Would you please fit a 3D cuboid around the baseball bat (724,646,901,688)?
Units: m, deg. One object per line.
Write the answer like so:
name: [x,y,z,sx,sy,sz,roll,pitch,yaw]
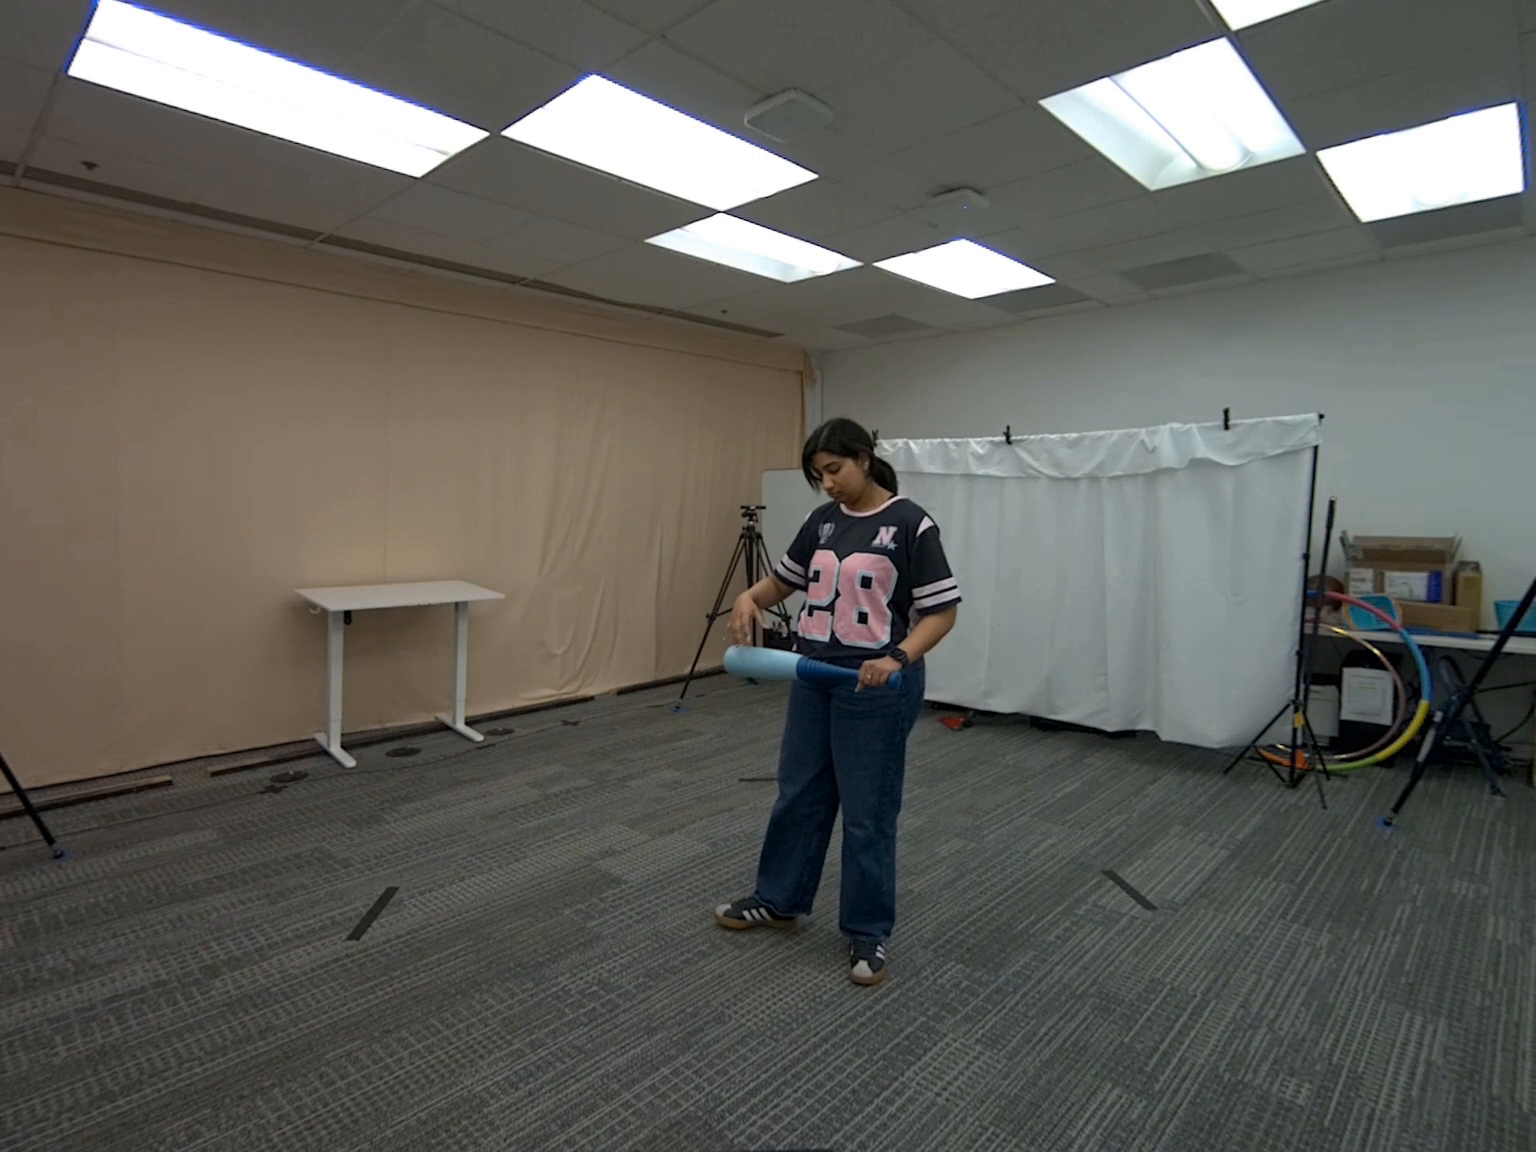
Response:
baseball bat: [0.129,0.265,2.389,0.558,0.089,0.087,3,4,29]
